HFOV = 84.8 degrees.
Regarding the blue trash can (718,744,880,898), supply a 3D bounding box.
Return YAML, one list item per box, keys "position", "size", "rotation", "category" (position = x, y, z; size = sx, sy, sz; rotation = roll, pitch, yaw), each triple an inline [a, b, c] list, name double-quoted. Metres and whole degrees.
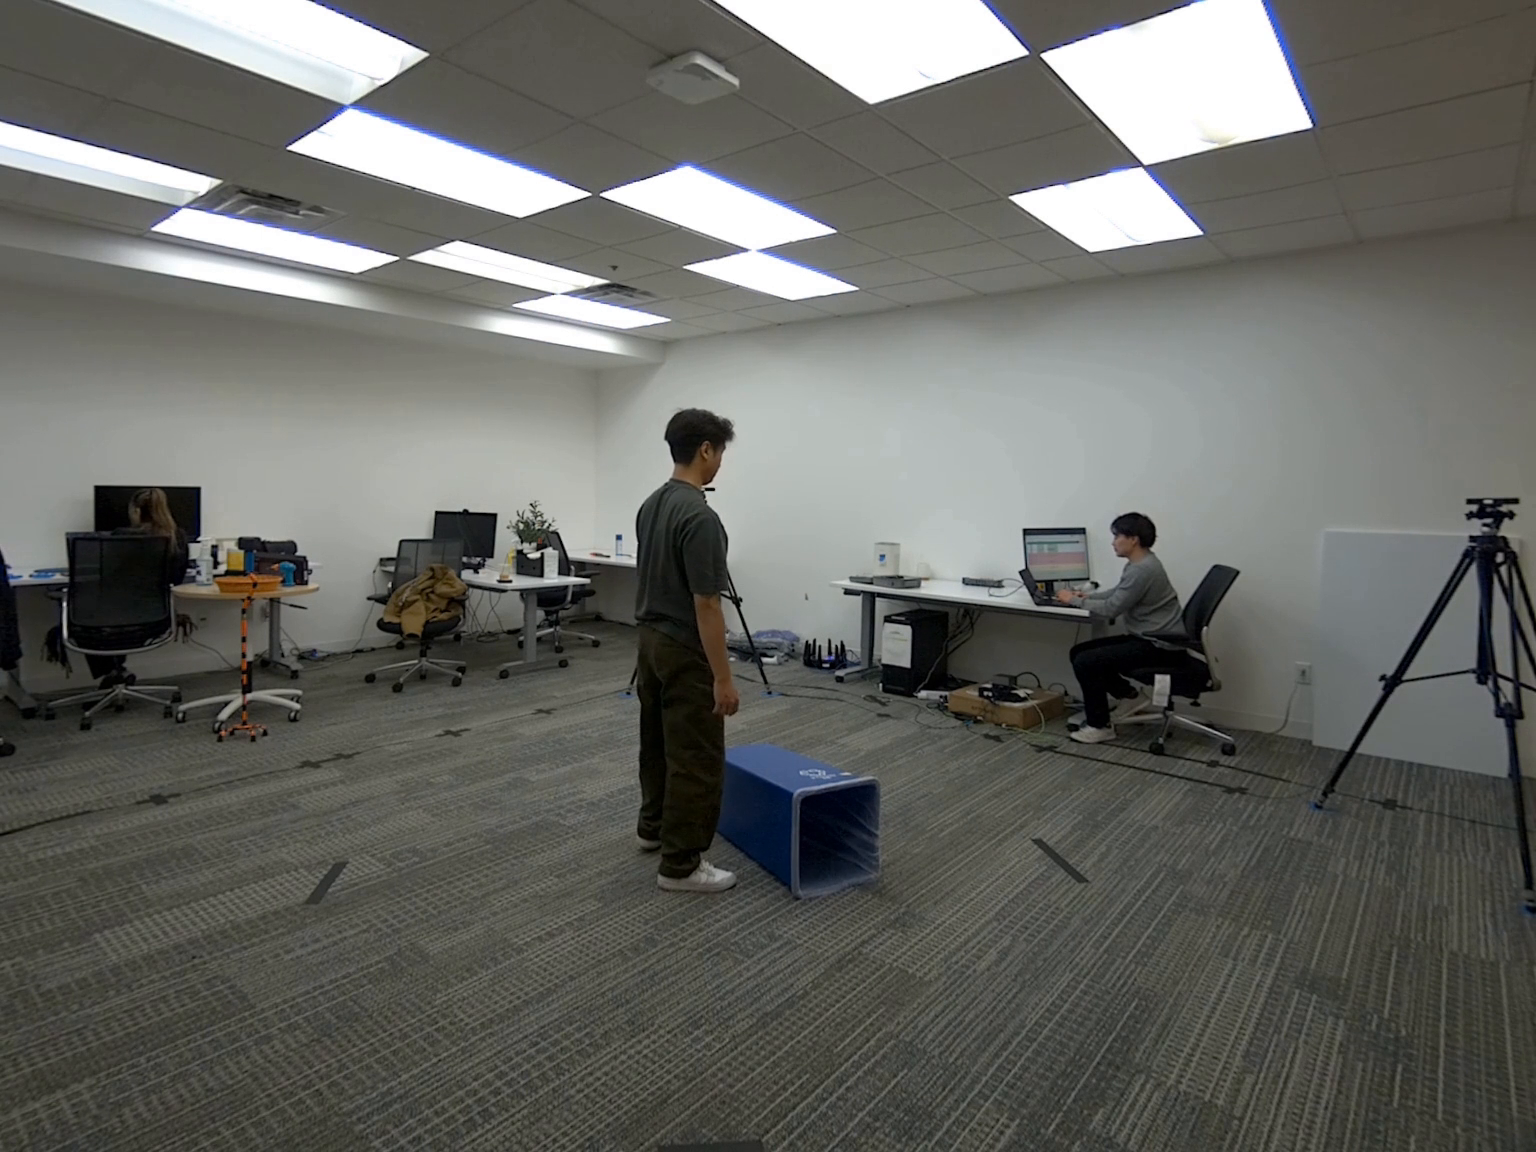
- position: [0.055, 0.892, 3.271]
  size: [0.368, 0.373, 0.734]
  rotation: [-2, 3, -30]
  category: "blue trash can"
